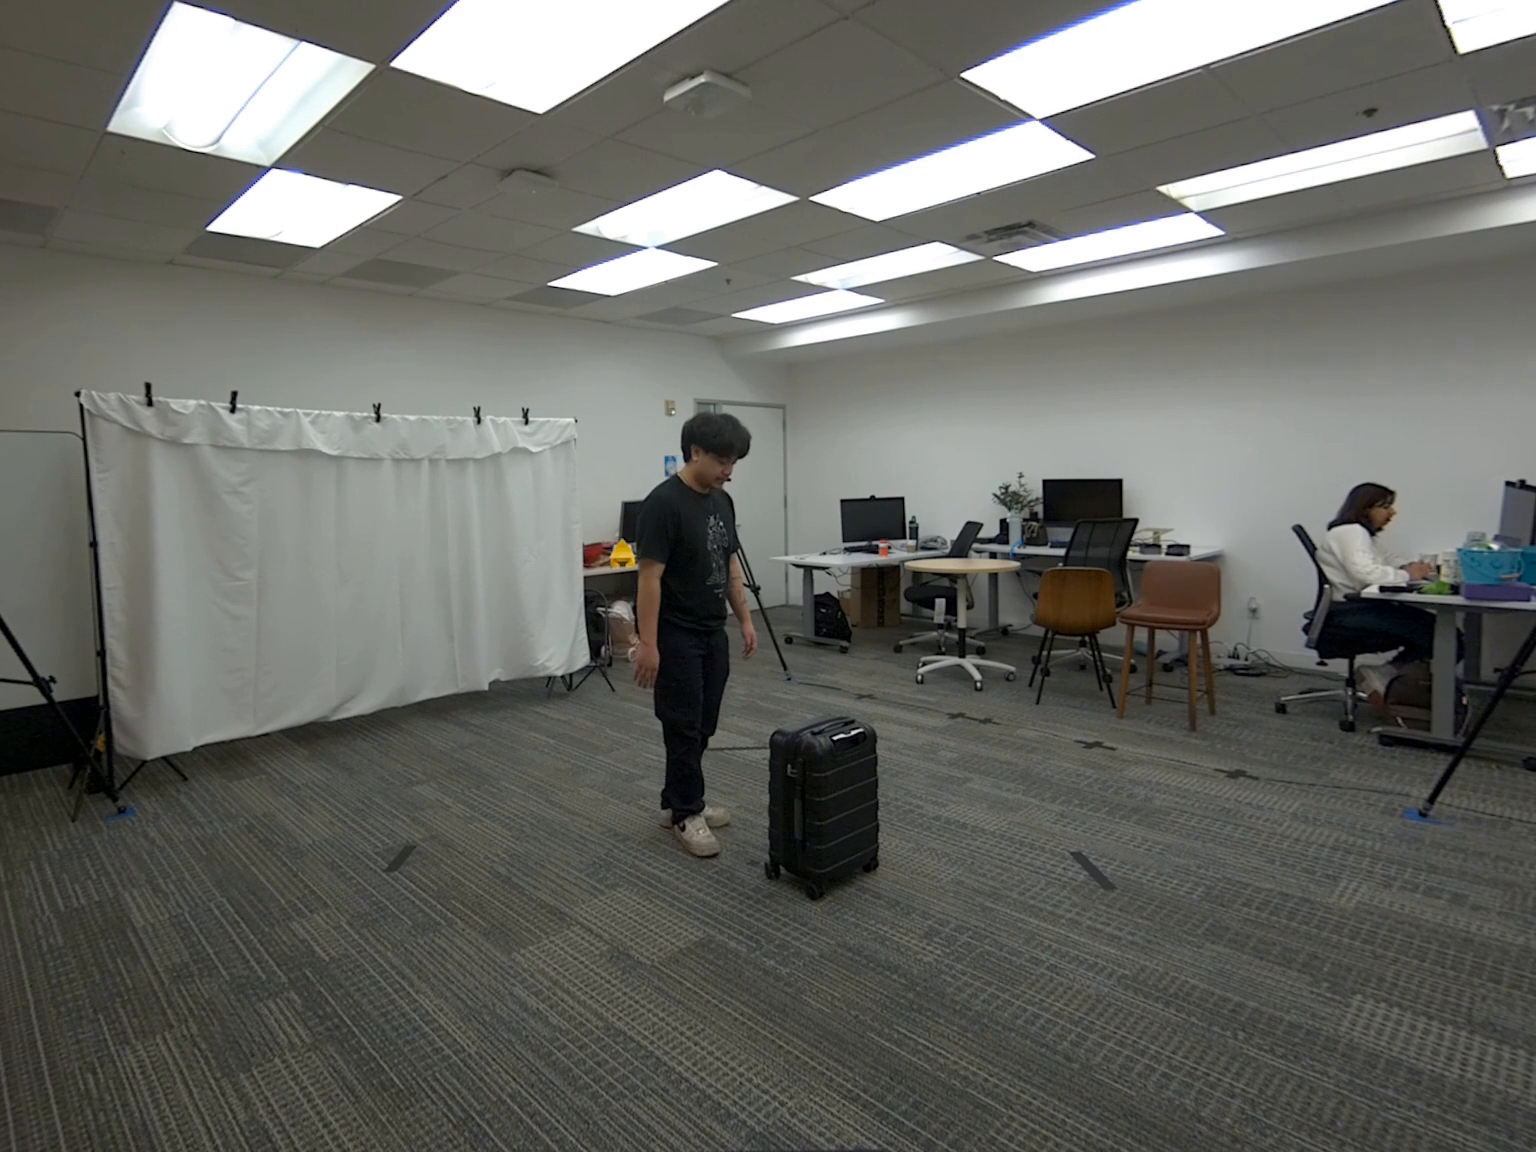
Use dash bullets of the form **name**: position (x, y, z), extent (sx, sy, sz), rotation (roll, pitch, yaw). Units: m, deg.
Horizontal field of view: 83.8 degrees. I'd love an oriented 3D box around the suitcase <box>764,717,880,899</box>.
- **suitcase**: position (0.195, 0.776, 2.976), extent (0.365, 0.547, 0.256), rotation (-5, 7, -43)
